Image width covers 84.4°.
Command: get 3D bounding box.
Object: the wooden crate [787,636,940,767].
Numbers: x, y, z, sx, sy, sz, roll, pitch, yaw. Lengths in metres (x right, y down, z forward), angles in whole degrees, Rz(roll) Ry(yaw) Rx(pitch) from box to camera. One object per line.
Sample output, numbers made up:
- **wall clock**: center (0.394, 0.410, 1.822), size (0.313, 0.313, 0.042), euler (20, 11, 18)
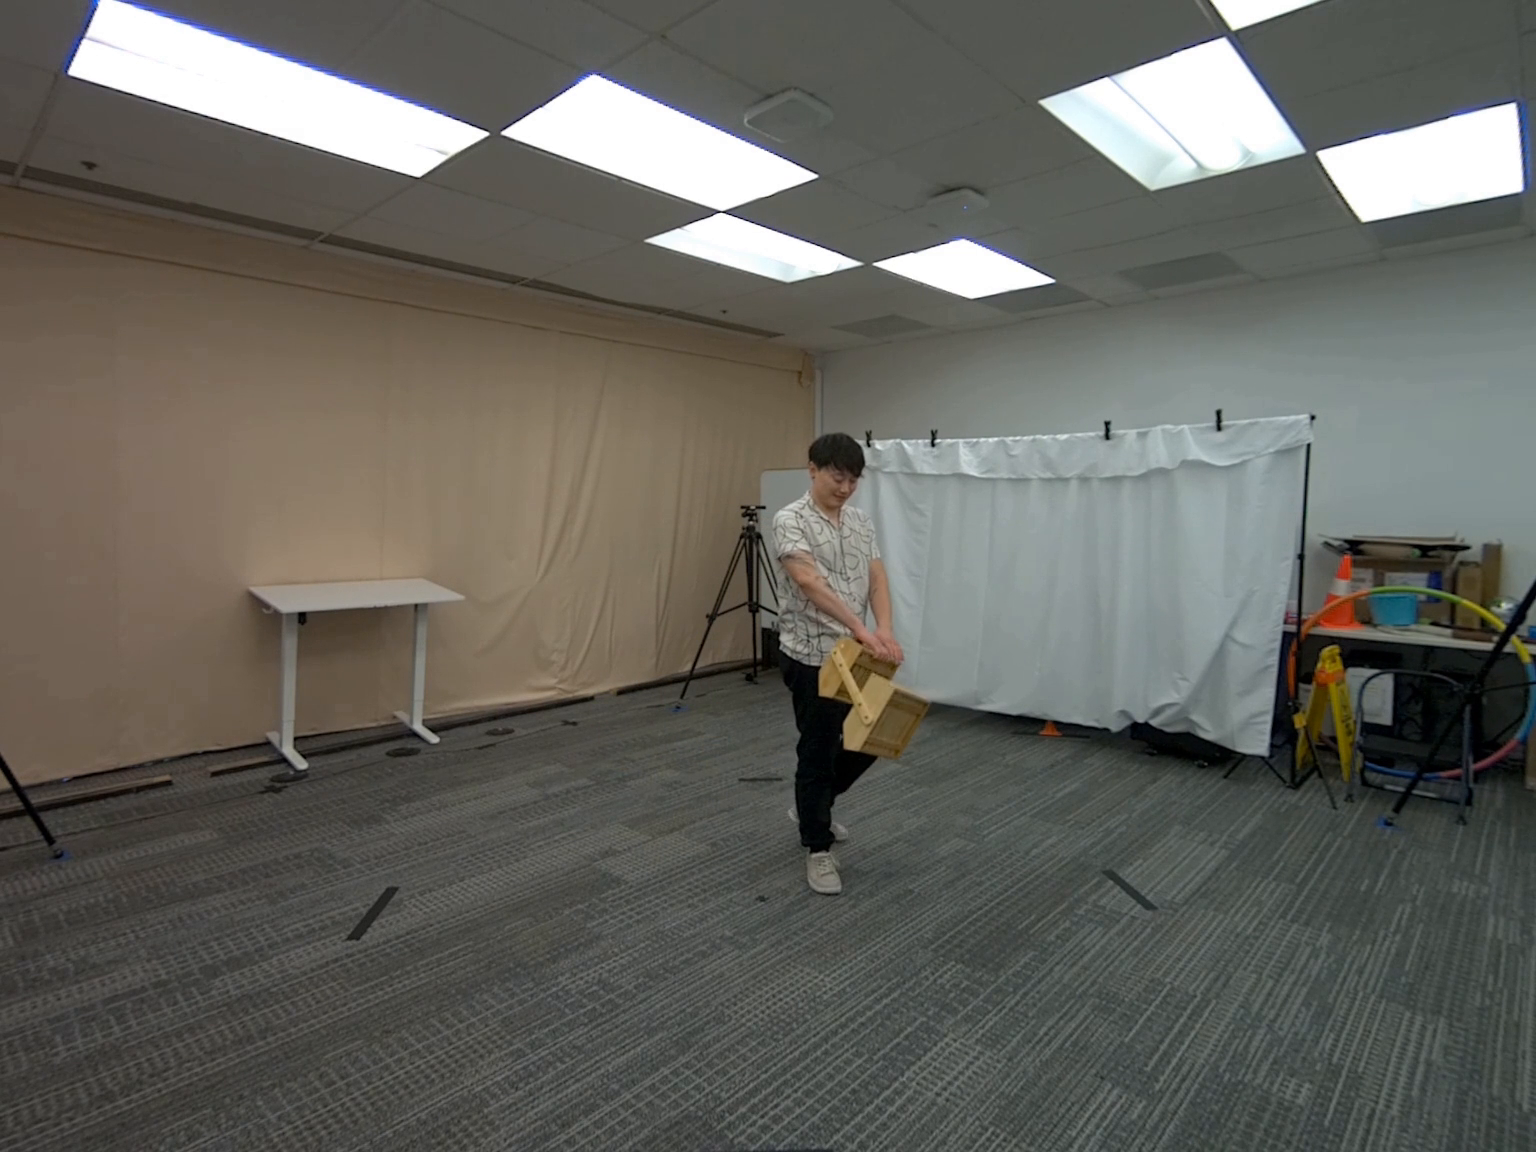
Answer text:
- **wooden crate**: center (0.318, 0.410, 2.808), size (0.283, 0.302, 0.313), euler (33, 4, 38)
